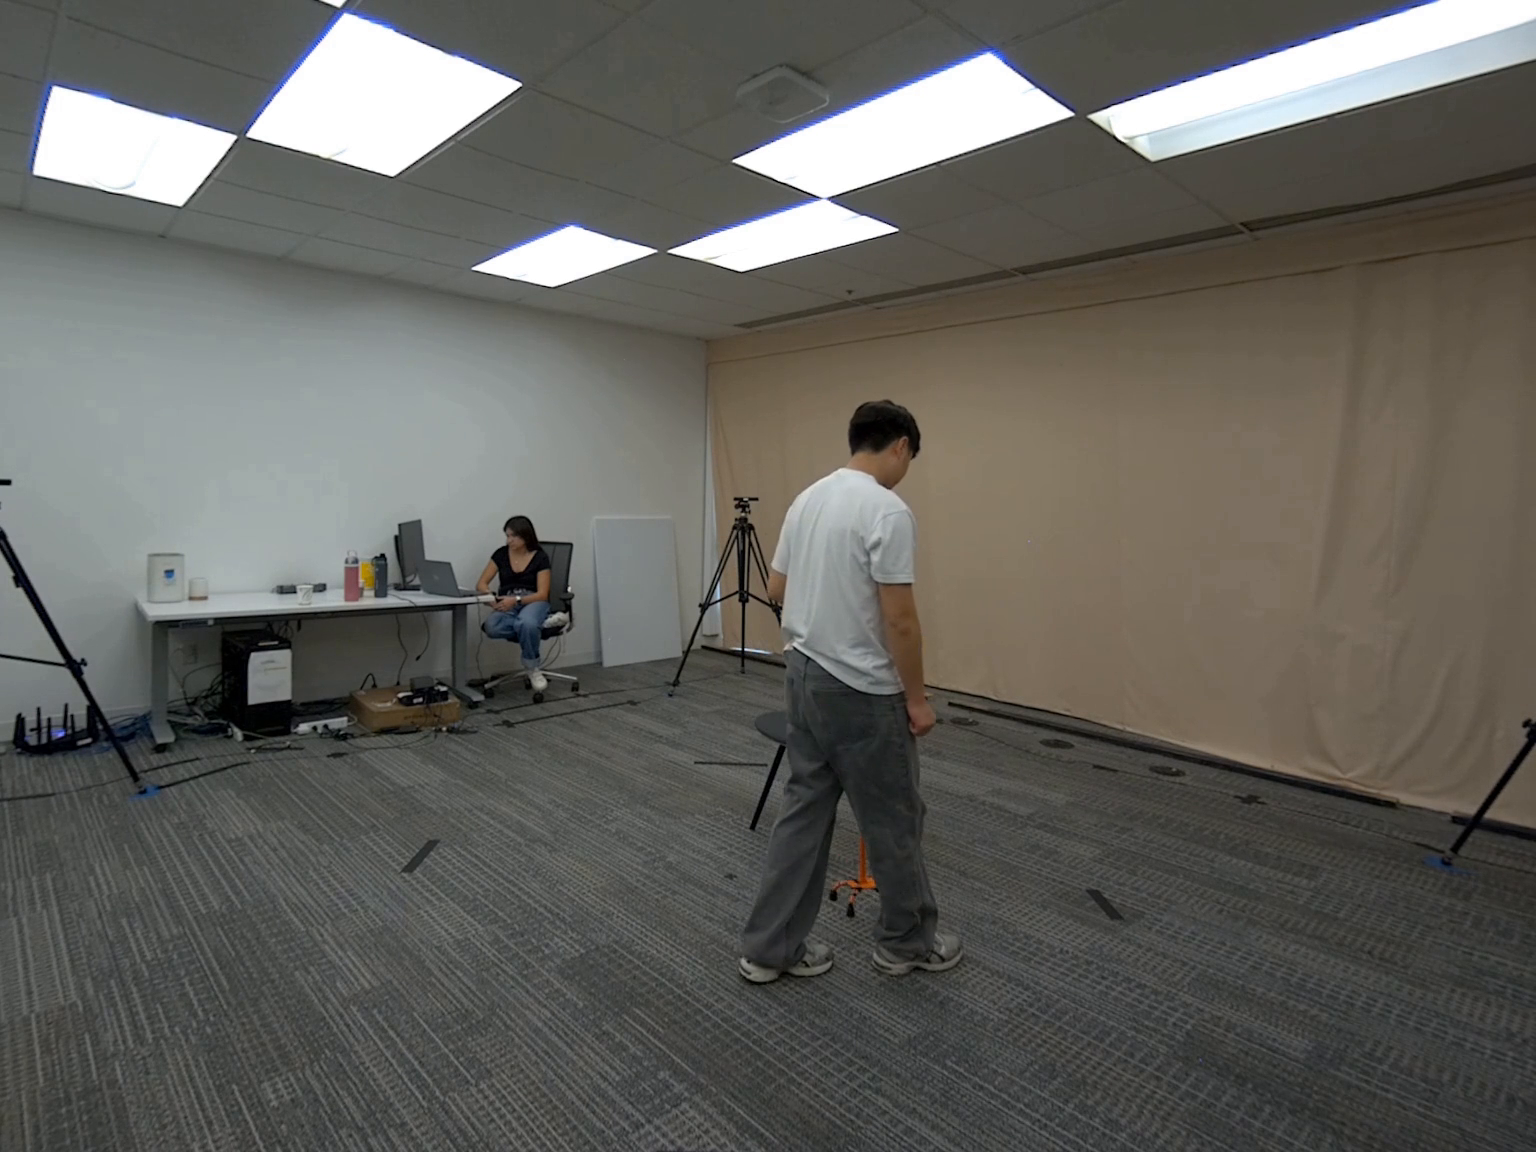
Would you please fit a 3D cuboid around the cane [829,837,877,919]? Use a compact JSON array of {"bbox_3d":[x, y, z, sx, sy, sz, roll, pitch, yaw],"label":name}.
[{"bbox_3d":[0.317,0.649,2.761,0.203,0.908,0.154,-1,0,-23],"label":"cane"}]
